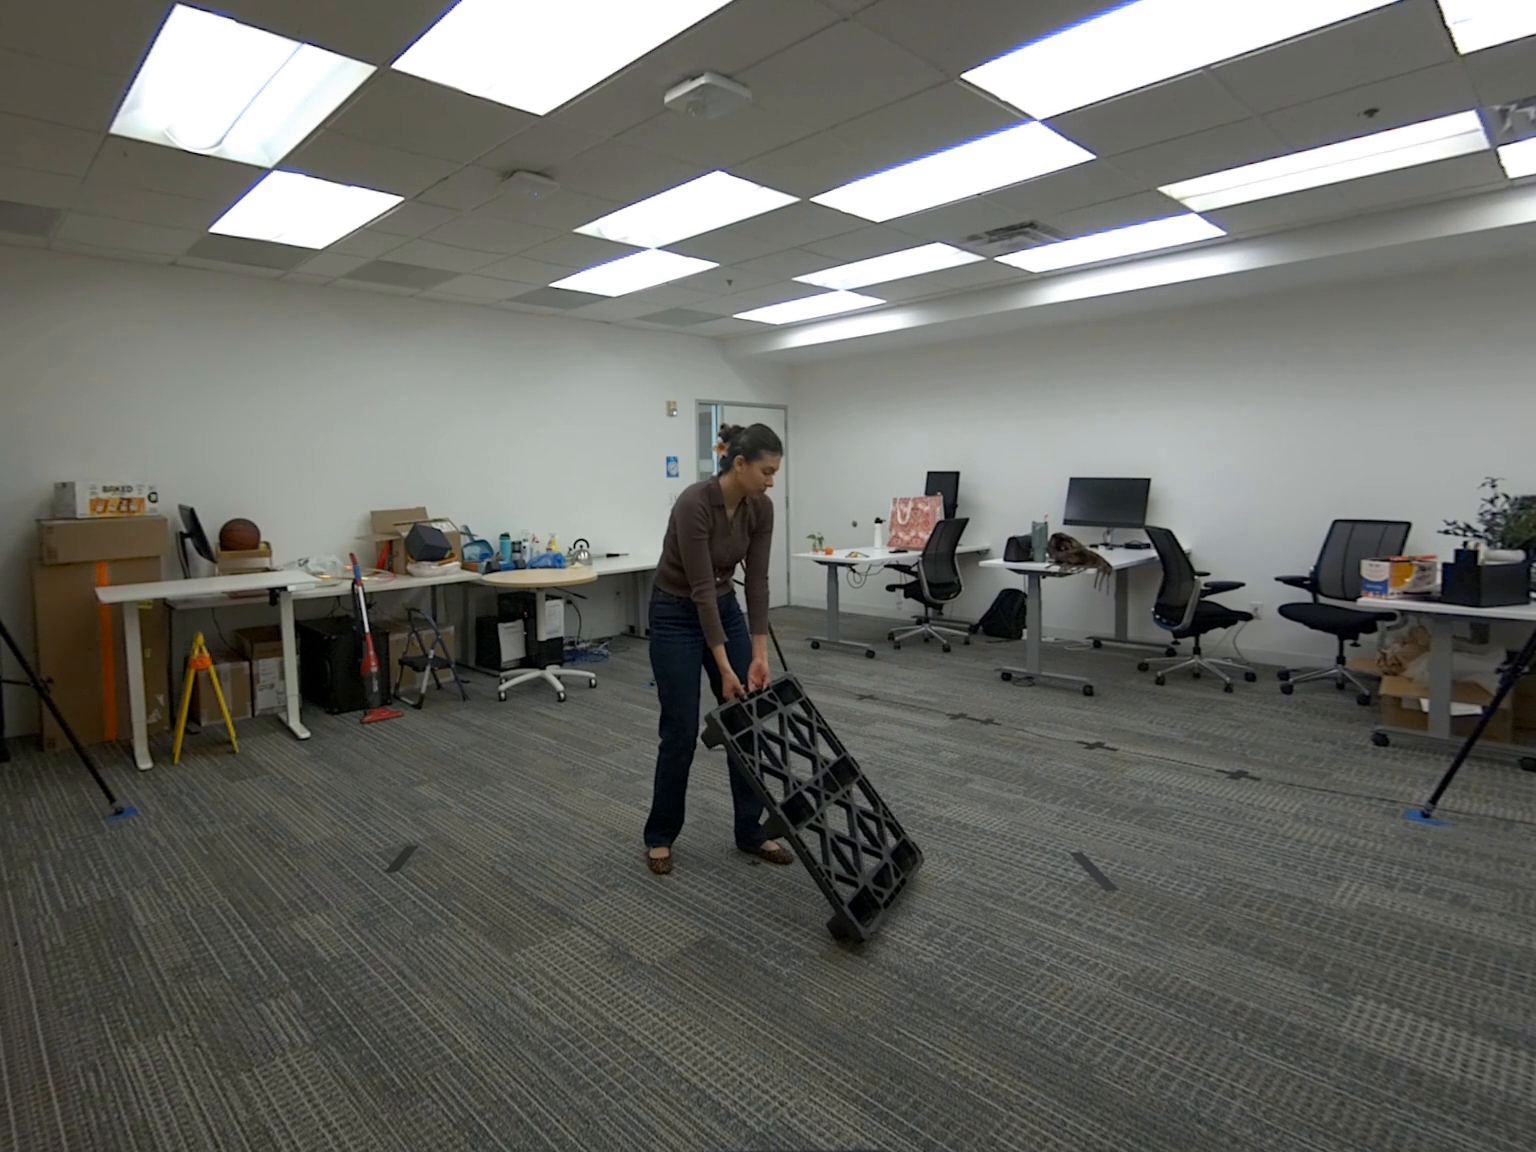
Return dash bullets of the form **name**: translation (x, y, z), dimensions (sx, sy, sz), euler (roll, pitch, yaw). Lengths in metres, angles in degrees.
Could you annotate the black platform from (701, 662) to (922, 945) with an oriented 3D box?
- **black platform**: translation (0.144, 0.742, 2.857), dimensions (0.143, 0.822, 0.592), euler (-43, -16, 24)
